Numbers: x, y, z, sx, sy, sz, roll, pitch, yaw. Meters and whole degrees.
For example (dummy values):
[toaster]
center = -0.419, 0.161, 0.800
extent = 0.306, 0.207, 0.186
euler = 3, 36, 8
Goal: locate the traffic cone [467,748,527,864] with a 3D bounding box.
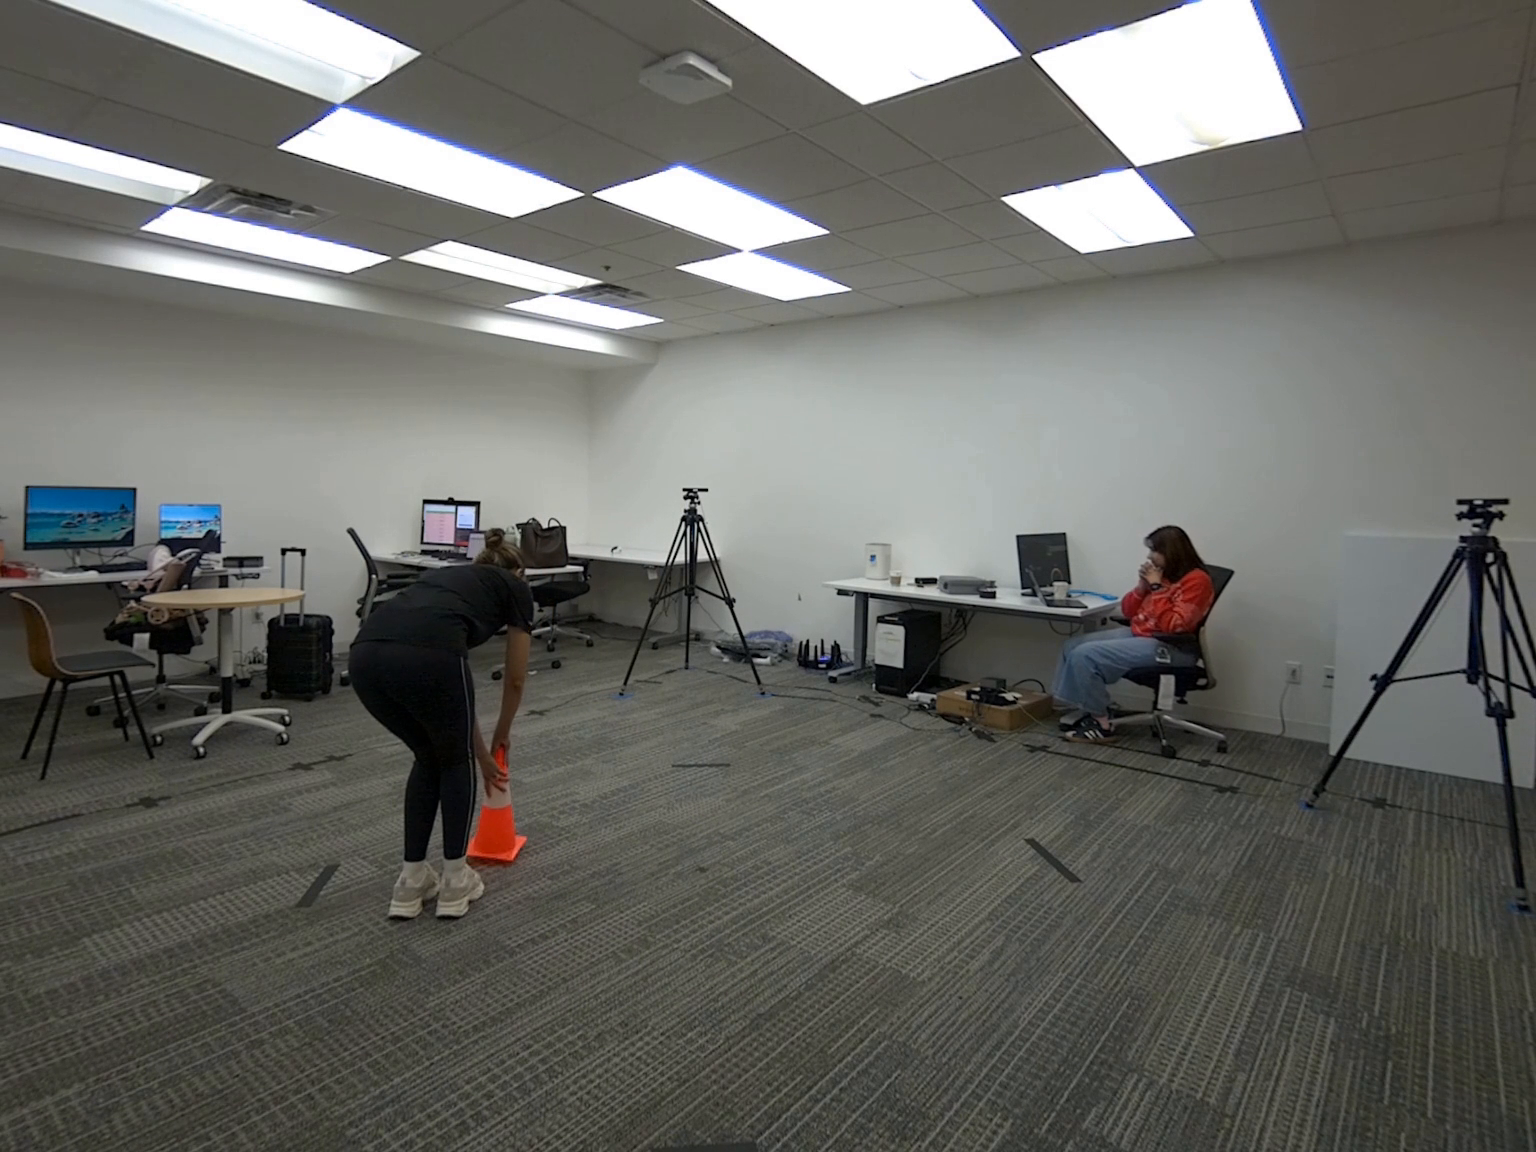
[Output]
[traffic cone]
center = -1.033, 0.824, 3.190
extent = 0.206, 0.382, 0.203
euler = 6, 5, 3
